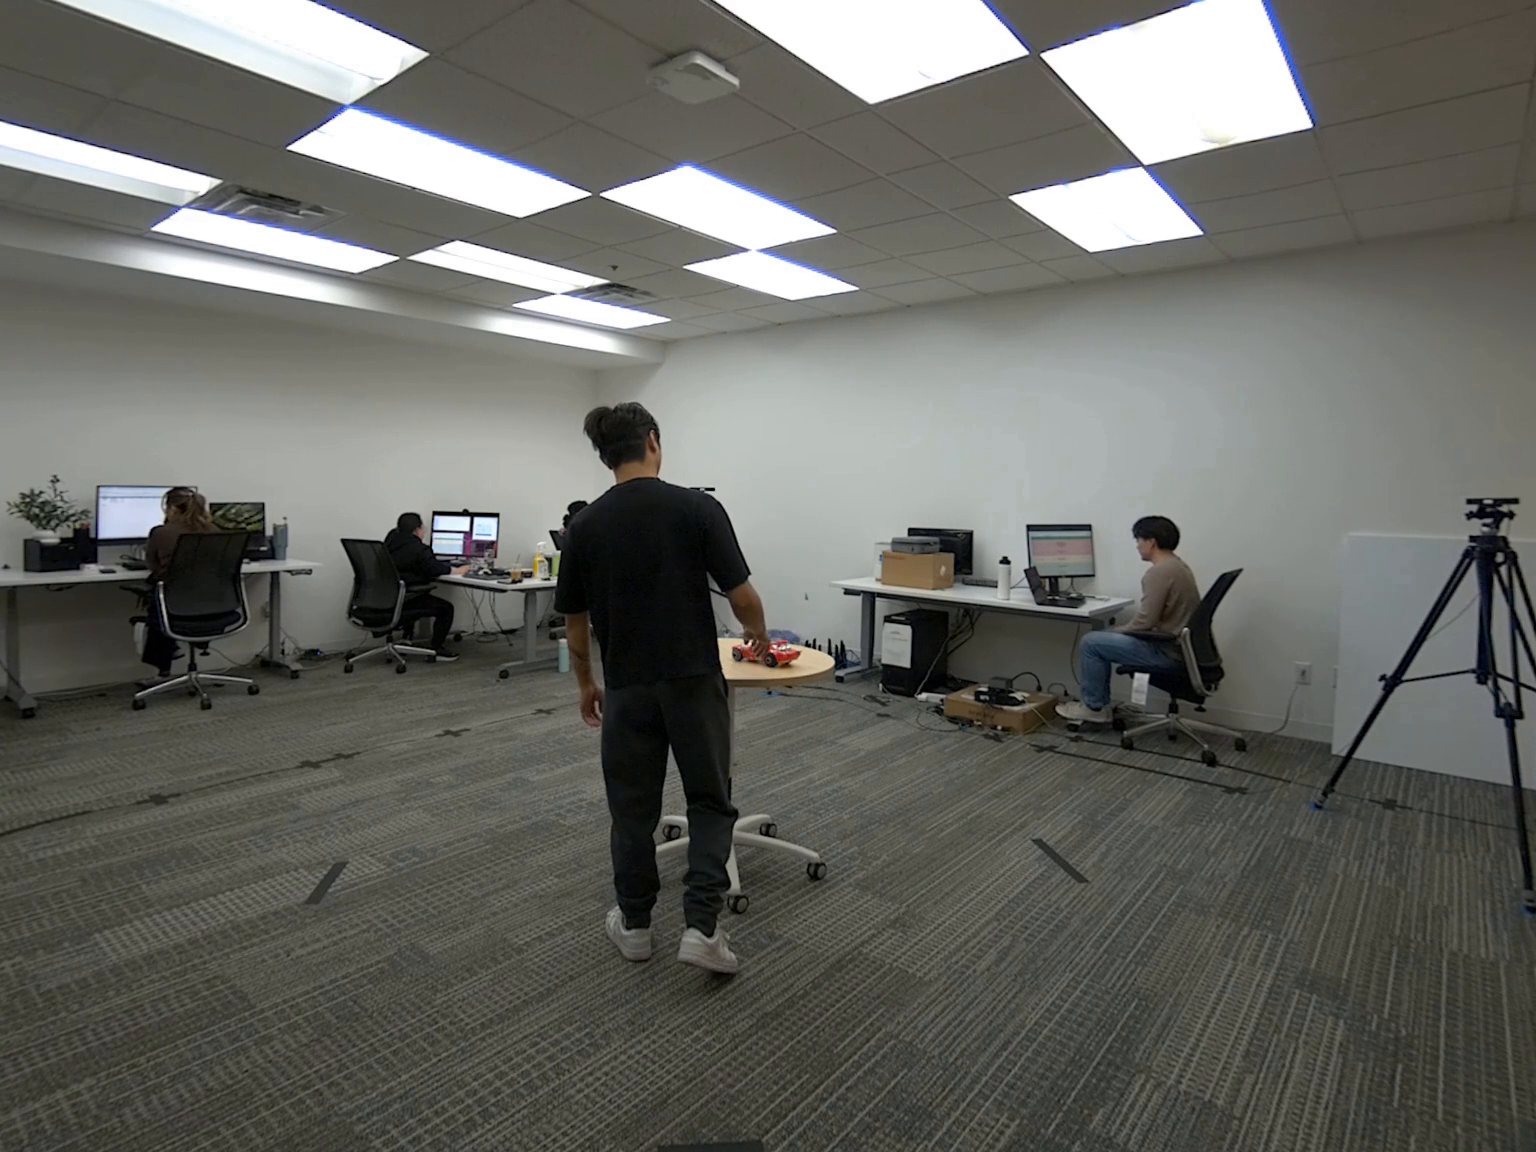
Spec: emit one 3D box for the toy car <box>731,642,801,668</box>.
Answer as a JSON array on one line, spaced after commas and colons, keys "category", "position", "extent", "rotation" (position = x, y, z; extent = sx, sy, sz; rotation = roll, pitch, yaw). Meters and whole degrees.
[{"category": "toy car", "position": [-0.010, 0.270, 2.974], "extent": [0.261, 0.083, 0.126], "rotation": [-7, -3, 38]}]
